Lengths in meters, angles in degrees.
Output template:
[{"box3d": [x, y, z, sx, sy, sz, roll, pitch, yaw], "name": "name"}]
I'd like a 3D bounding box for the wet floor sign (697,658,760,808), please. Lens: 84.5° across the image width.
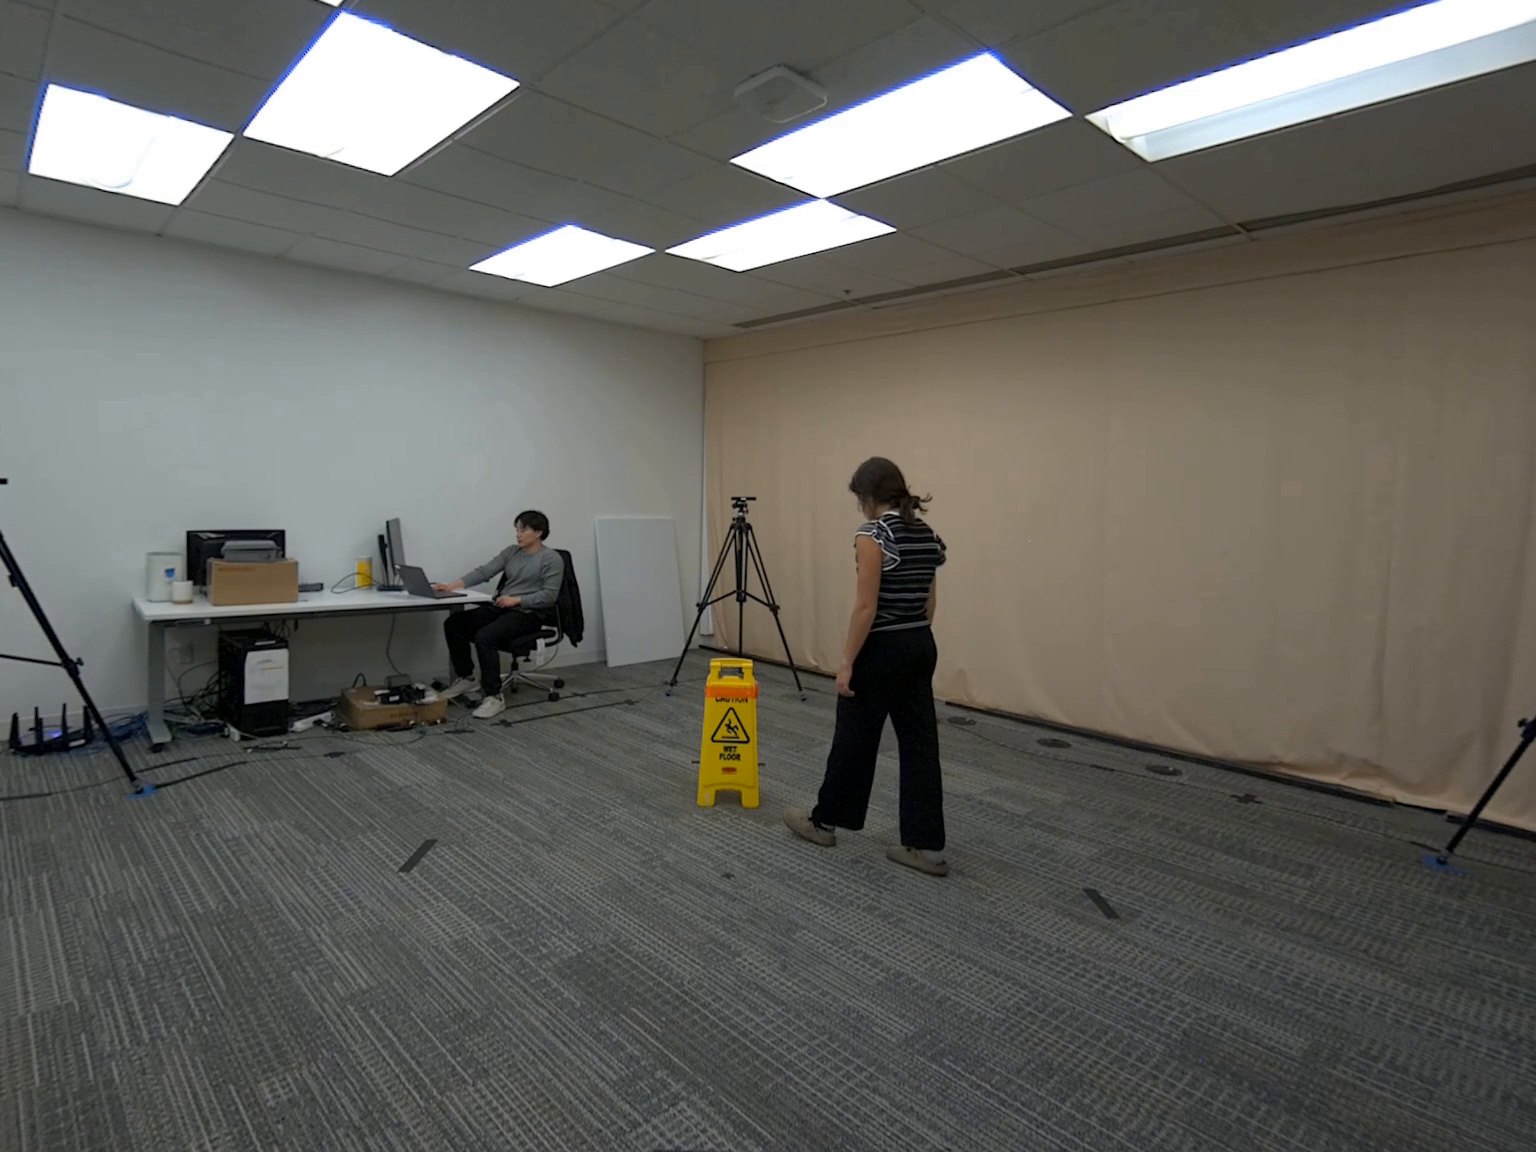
[{"box3d": [-0.186, 0.709, 3.927, 0.282, 0.644, 0.291, 3, 3, -2], "name": "wet floor sign"}]
